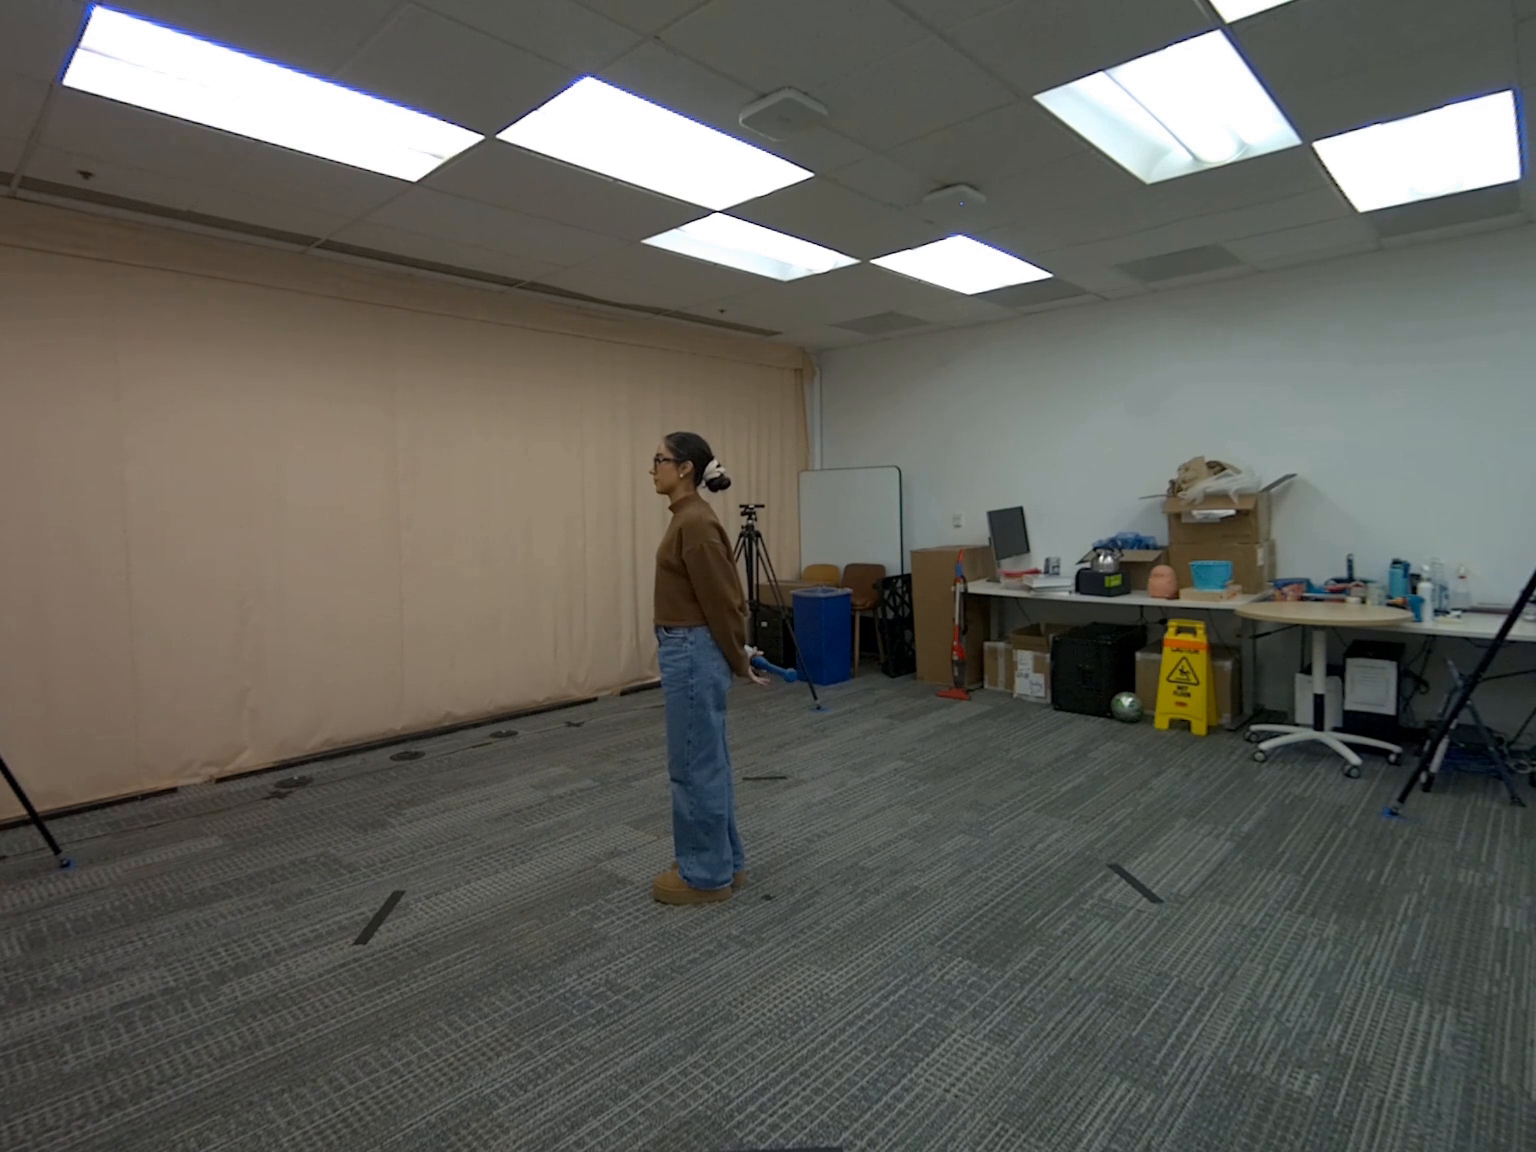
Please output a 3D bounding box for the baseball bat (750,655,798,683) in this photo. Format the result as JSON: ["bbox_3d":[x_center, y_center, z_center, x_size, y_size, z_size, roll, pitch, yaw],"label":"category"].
[{"bbox_3d":[-0.043,0.321,3.130,0.087,0.089,0.556,-2,7,-21],"label":"baseball bat"}]
